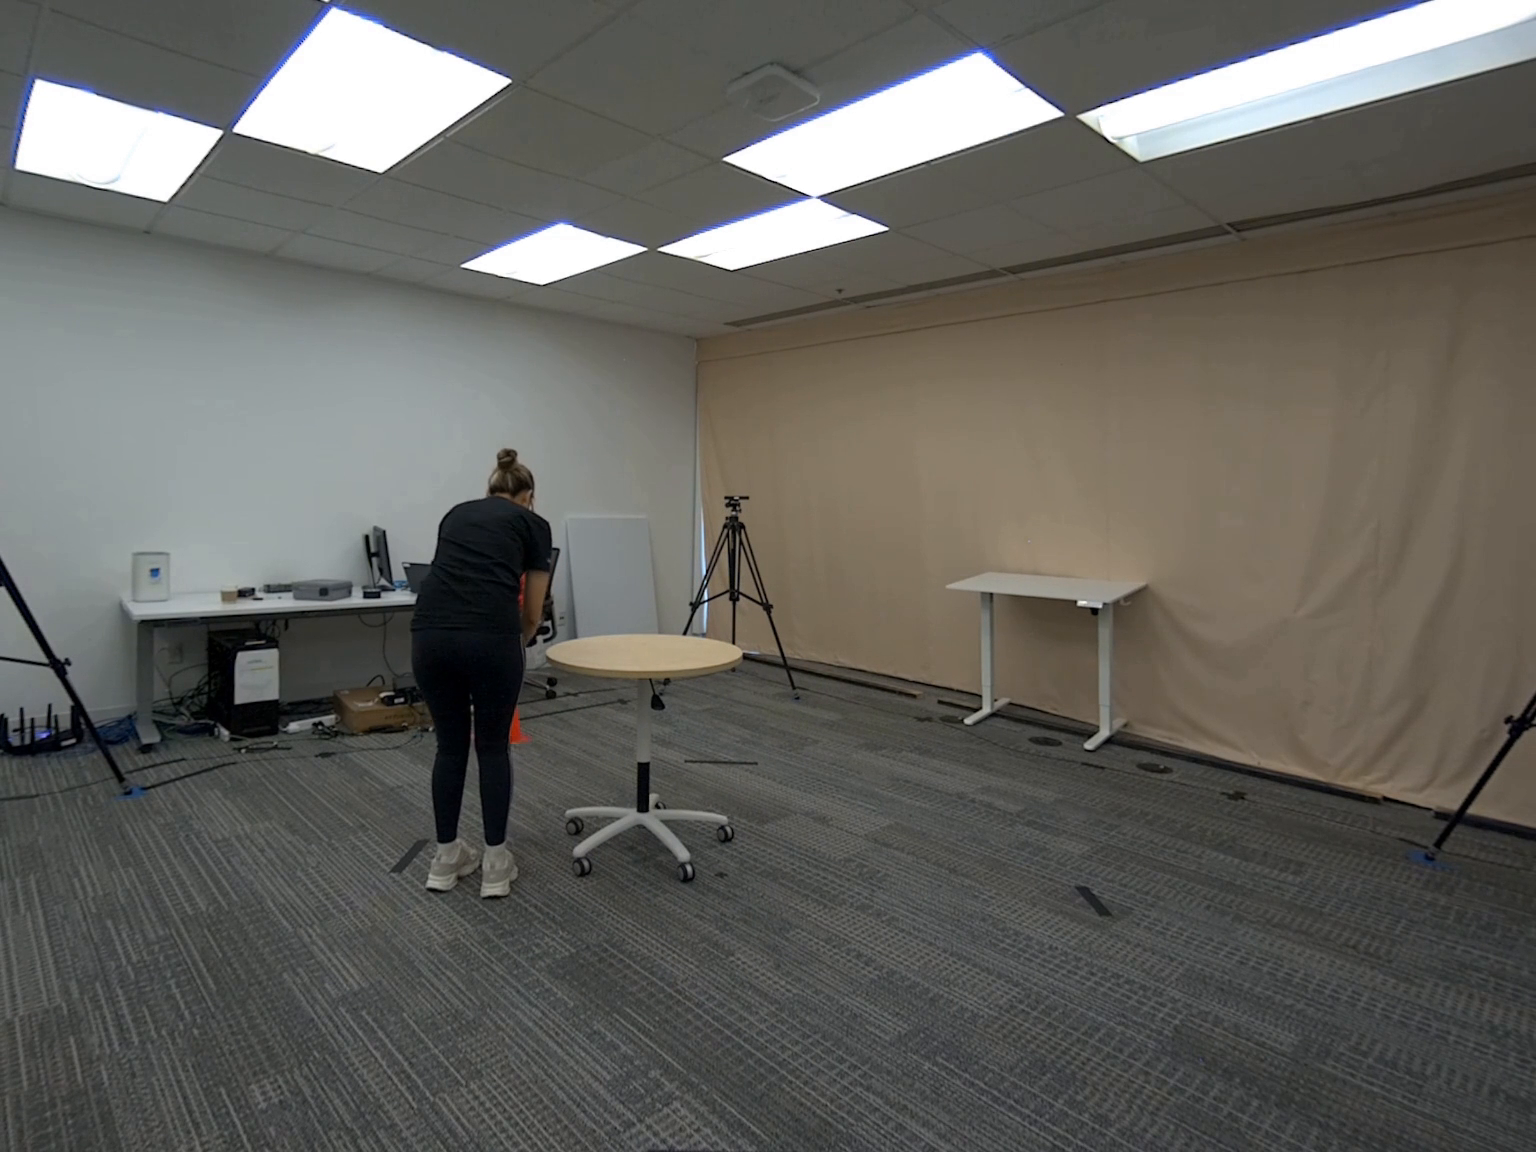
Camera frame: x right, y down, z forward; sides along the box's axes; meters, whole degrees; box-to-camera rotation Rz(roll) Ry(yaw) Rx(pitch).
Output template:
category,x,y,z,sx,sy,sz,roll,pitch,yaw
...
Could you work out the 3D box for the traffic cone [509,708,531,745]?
category,x,y,z,sx,sy,sz,roll,pitch,yaw
traffic cone,-1.061,0.457,3.317,0.201,0.384,0.207,3,0,-27
